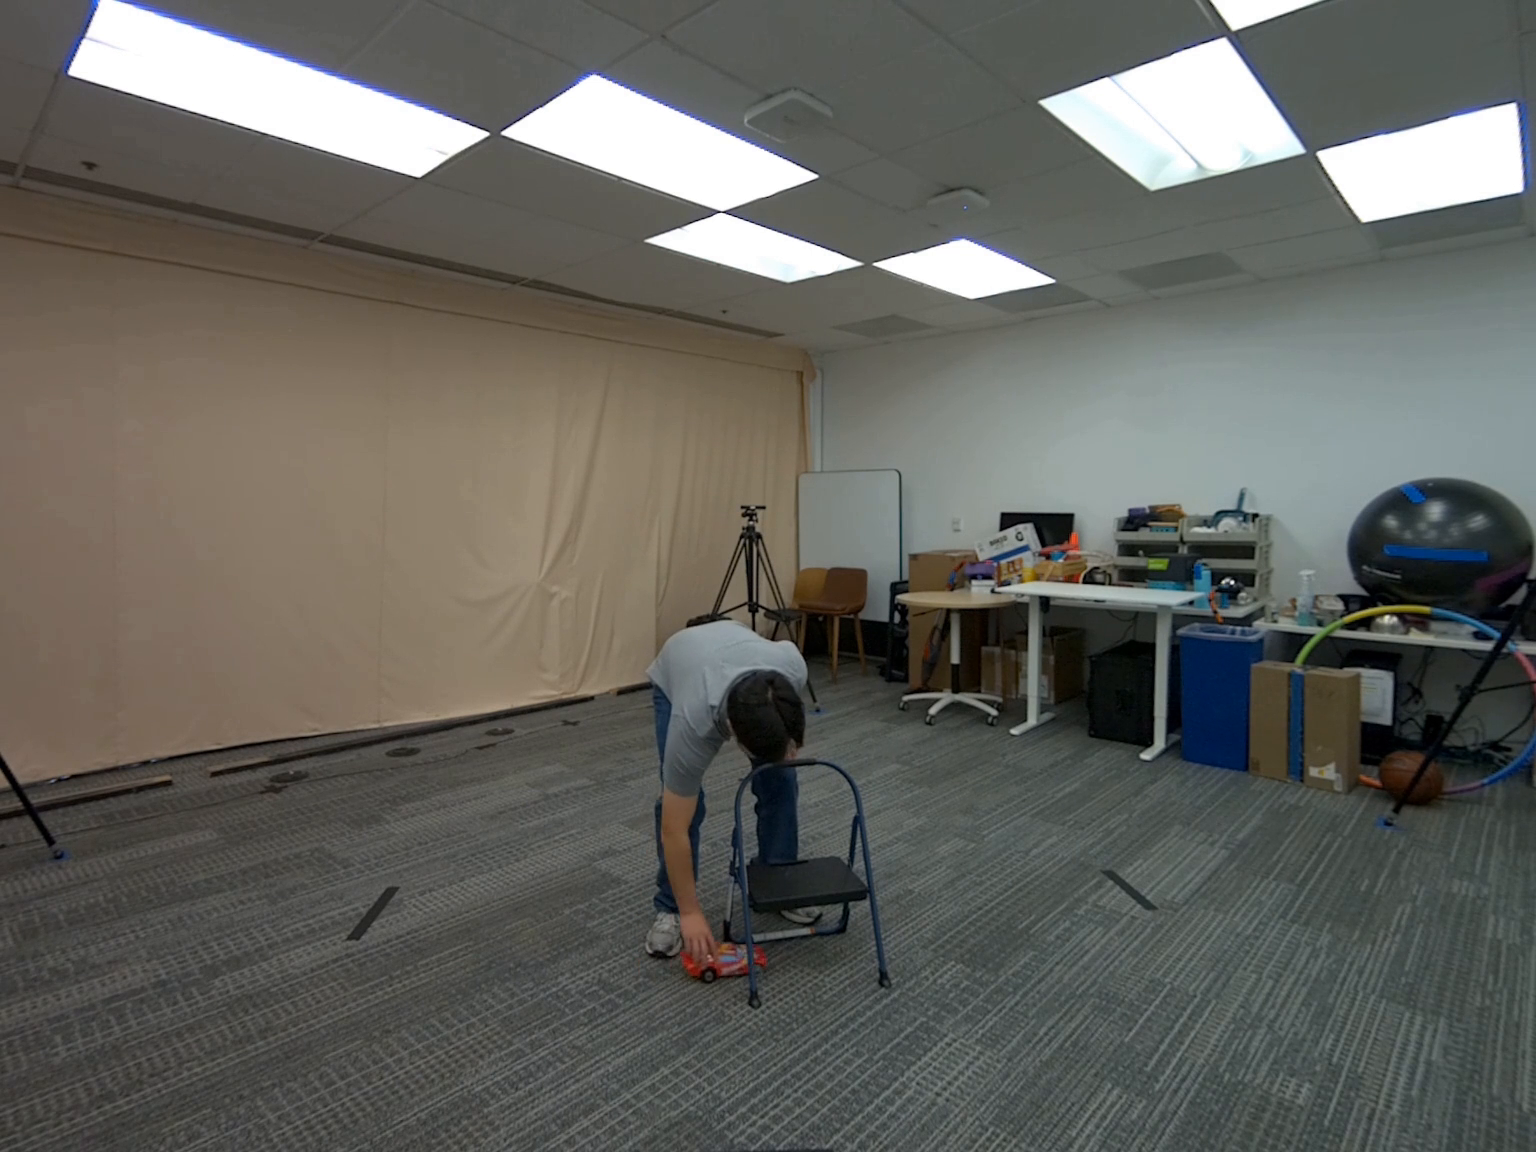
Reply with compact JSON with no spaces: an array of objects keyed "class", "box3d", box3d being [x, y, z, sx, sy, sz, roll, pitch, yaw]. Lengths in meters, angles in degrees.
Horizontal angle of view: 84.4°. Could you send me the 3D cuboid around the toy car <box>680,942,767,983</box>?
[{"class":"toy car","box3d":[-0.148,1.161,2.516,0.252,0.083,0.132,6,2,-10]}]
